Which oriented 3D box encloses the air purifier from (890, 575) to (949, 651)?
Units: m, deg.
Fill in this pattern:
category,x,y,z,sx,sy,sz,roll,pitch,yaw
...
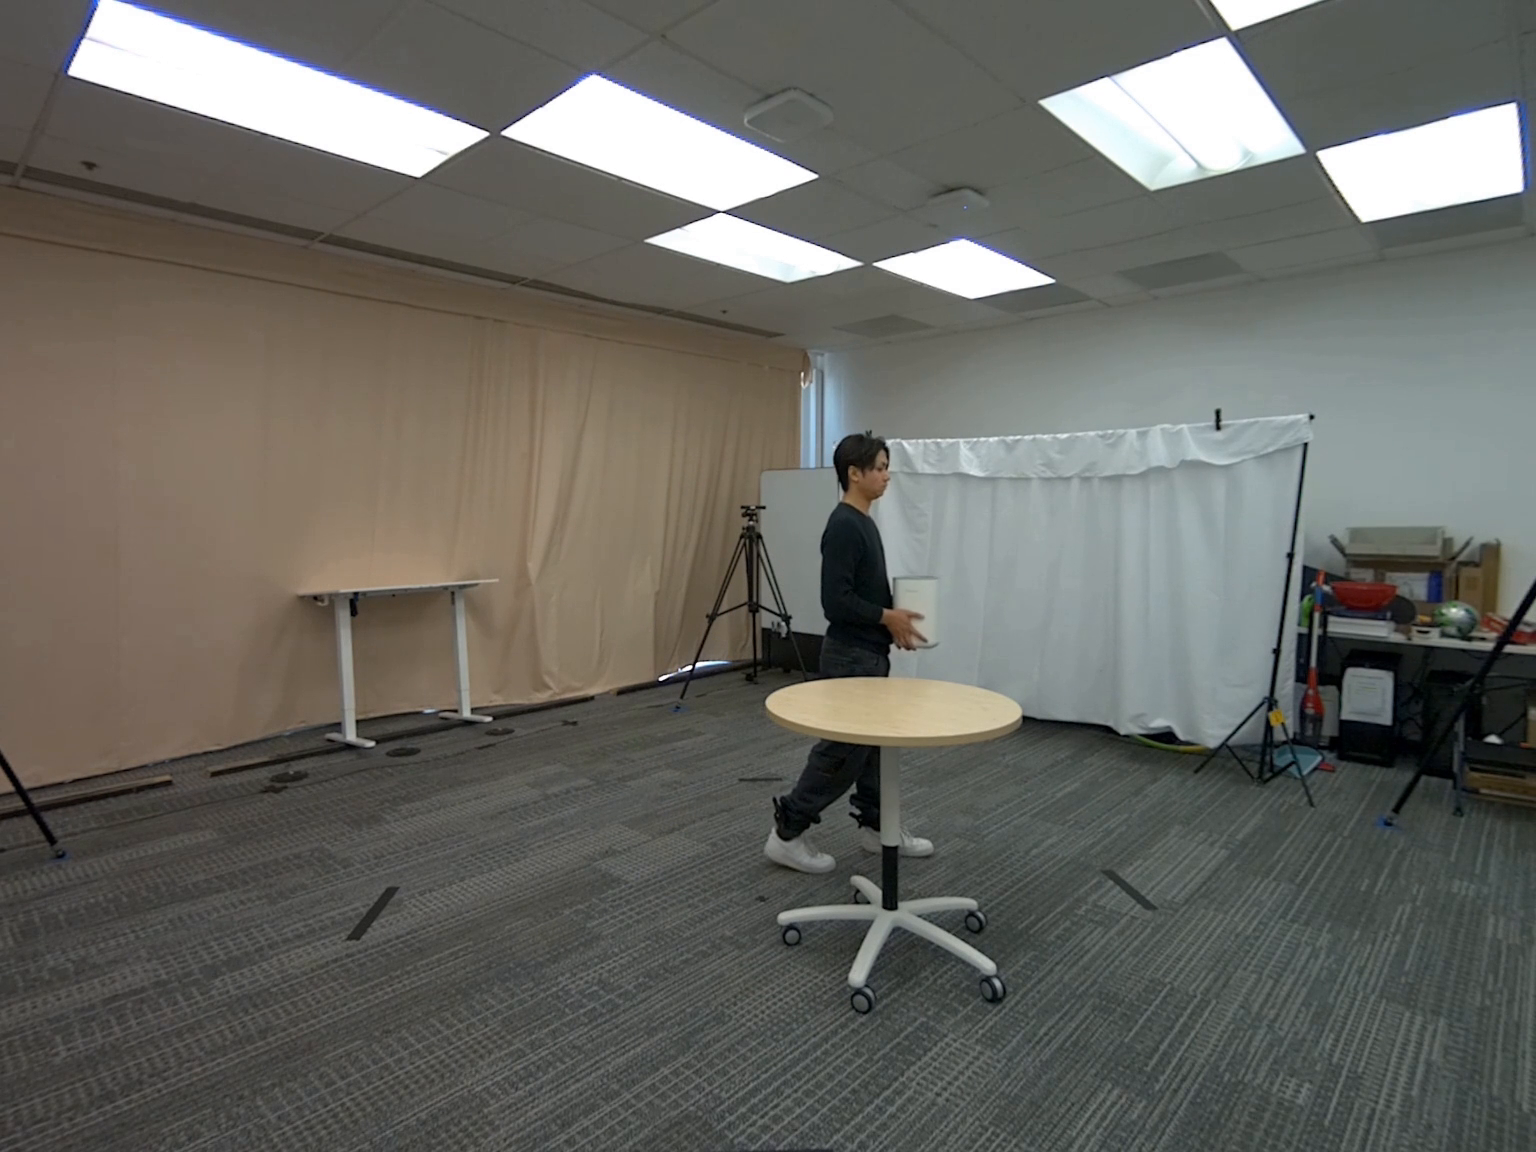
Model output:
category,x,y,z,sx,sy,sz,roll,pitch,yaw
air purifier,0.572,0.134,3.204,0.175,0.265,0.167,-1,0,25
